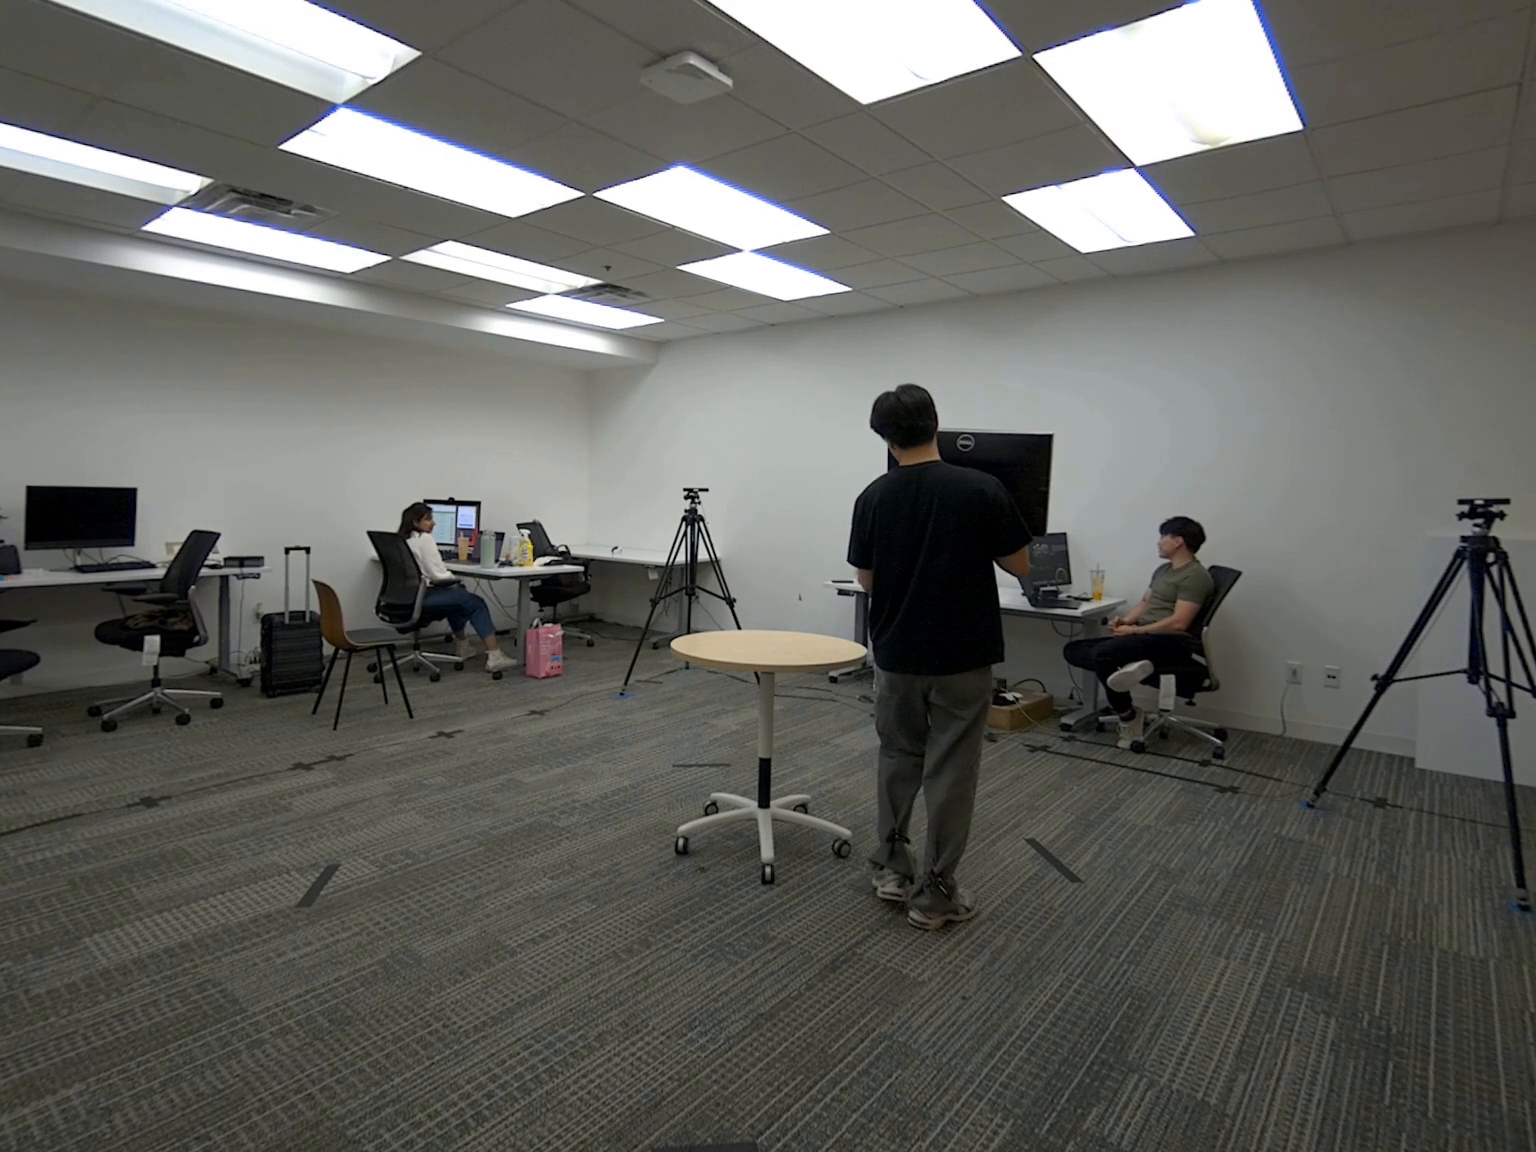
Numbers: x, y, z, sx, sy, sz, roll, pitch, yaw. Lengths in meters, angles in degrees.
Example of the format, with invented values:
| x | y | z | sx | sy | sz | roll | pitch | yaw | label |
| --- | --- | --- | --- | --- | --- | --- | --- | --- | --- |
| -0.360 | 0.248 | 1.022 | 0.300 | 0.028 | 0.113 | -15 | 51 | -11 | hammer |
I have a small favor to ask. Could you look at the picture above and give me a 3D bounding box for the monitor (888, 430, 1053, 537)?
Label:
| x | y | z | sx | sy | sz | roll | pitch | yaw | label |
| --- | --- | --- | --- | --- | --- | --- | --- | --- | --- |
| 0.658 | -0.230 | 2.962 | 0.578 | 0.565 | 0.216 | 7 | 2 | 28 | monitor |
